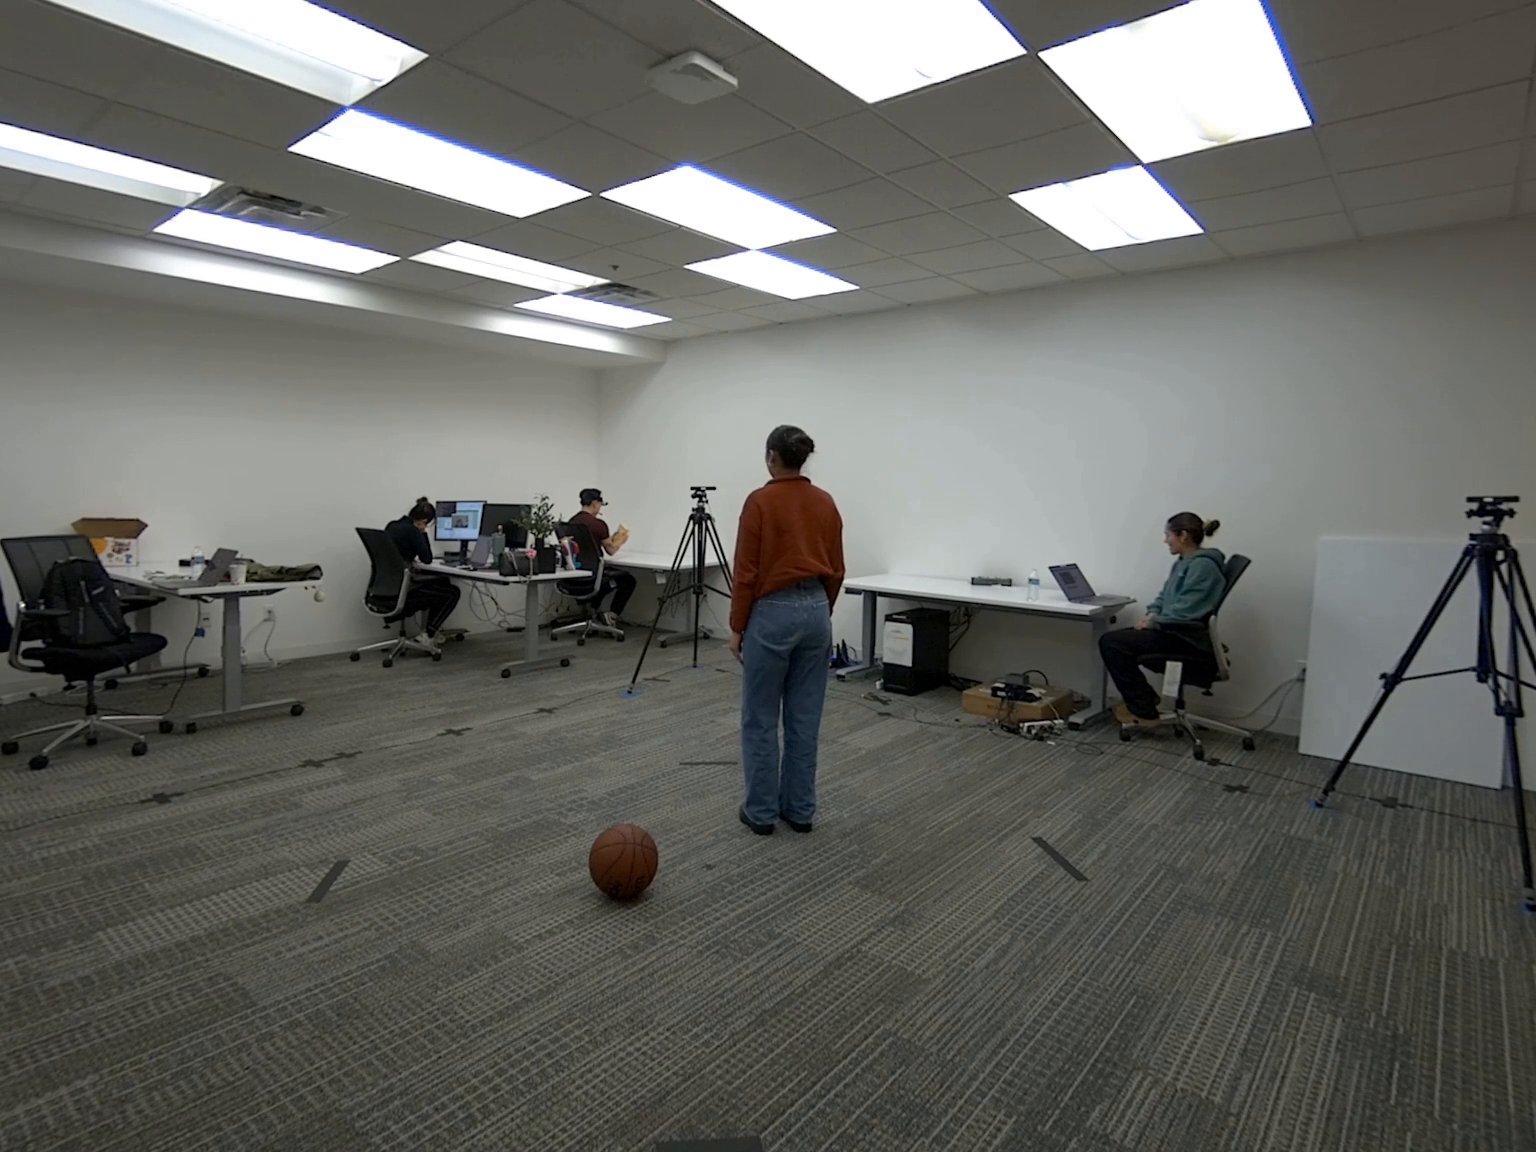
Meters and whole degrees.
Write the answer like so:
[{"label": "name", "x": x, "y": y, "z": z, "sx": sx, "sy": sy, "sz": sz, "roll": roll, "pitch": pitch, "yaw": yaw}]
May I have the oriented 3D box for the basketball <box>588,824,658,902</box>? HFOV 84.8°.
[{"label": "basketball", "x": -0.501, "y": 0.956, "z": 2.886, "sx": 0.235, "sy": 0.235, "sz": 0.237, "roll": 1, "pitch": 4, "yaw": -2}]
